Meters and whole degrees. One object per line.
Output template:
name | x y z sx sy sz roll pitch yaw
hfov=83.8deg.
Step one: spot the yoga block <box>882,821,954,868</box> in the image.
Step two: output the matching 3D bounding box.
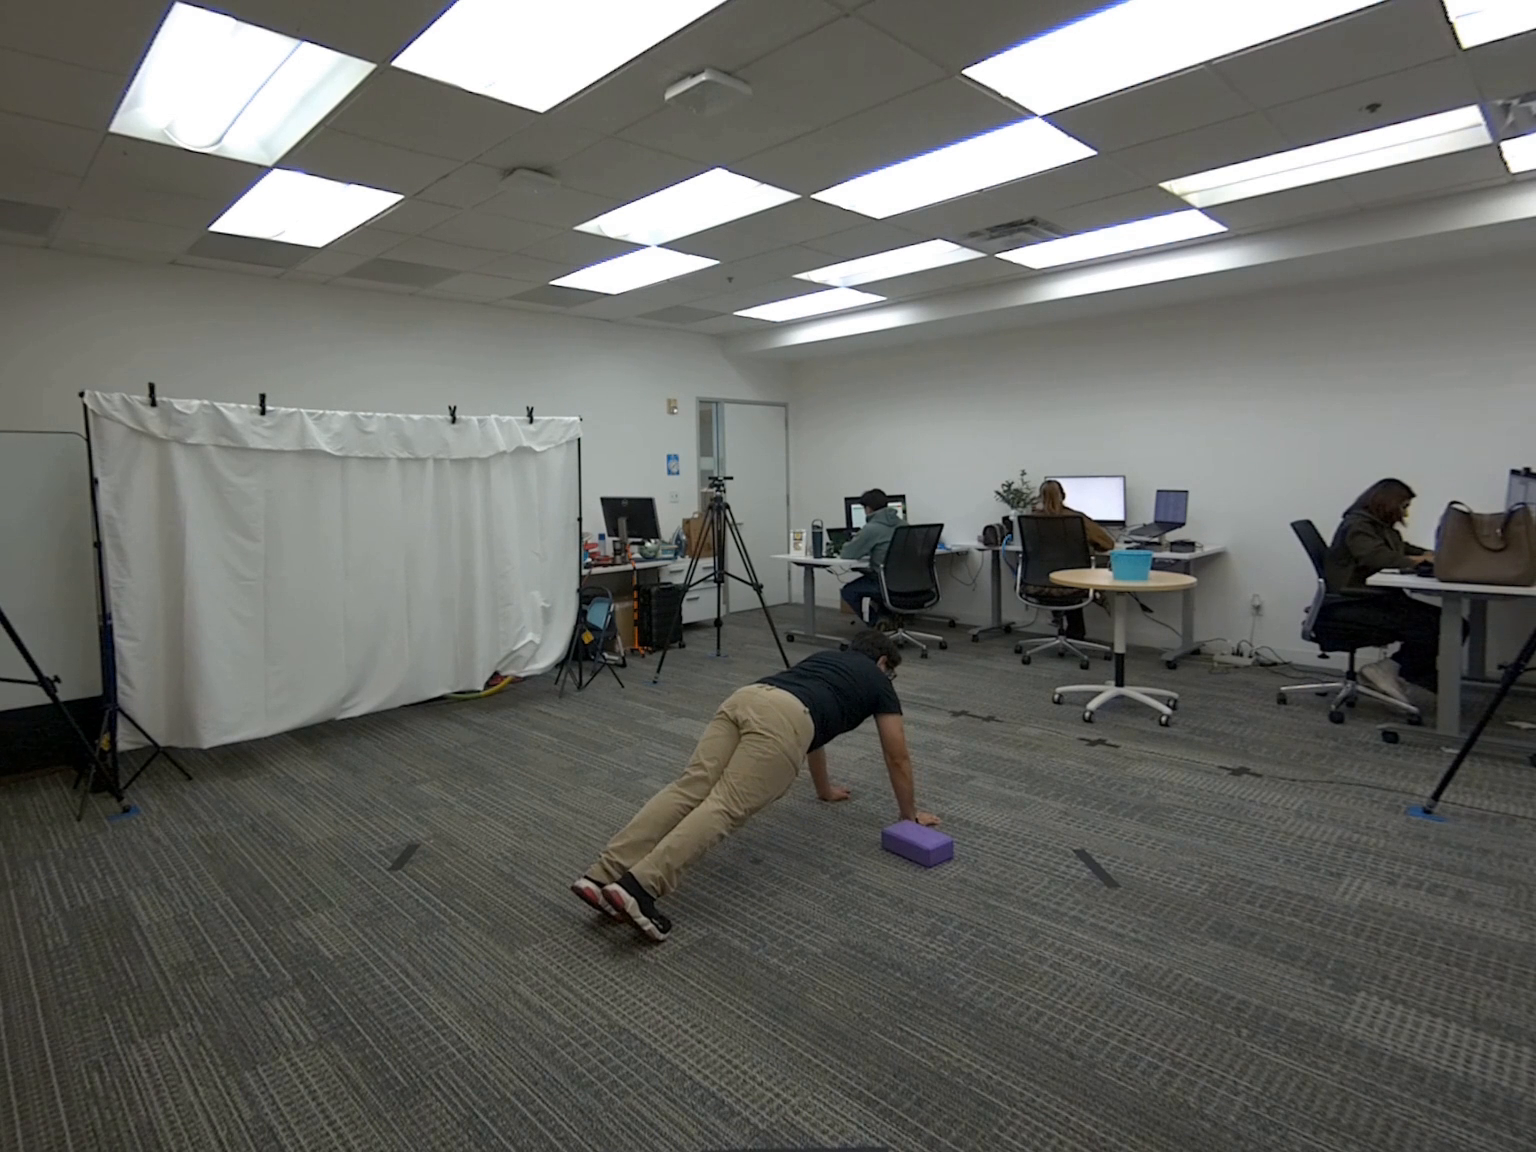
yoga block | 0.549 0.975 3.142 0.145 0.076 0.236 -6 7 -39
